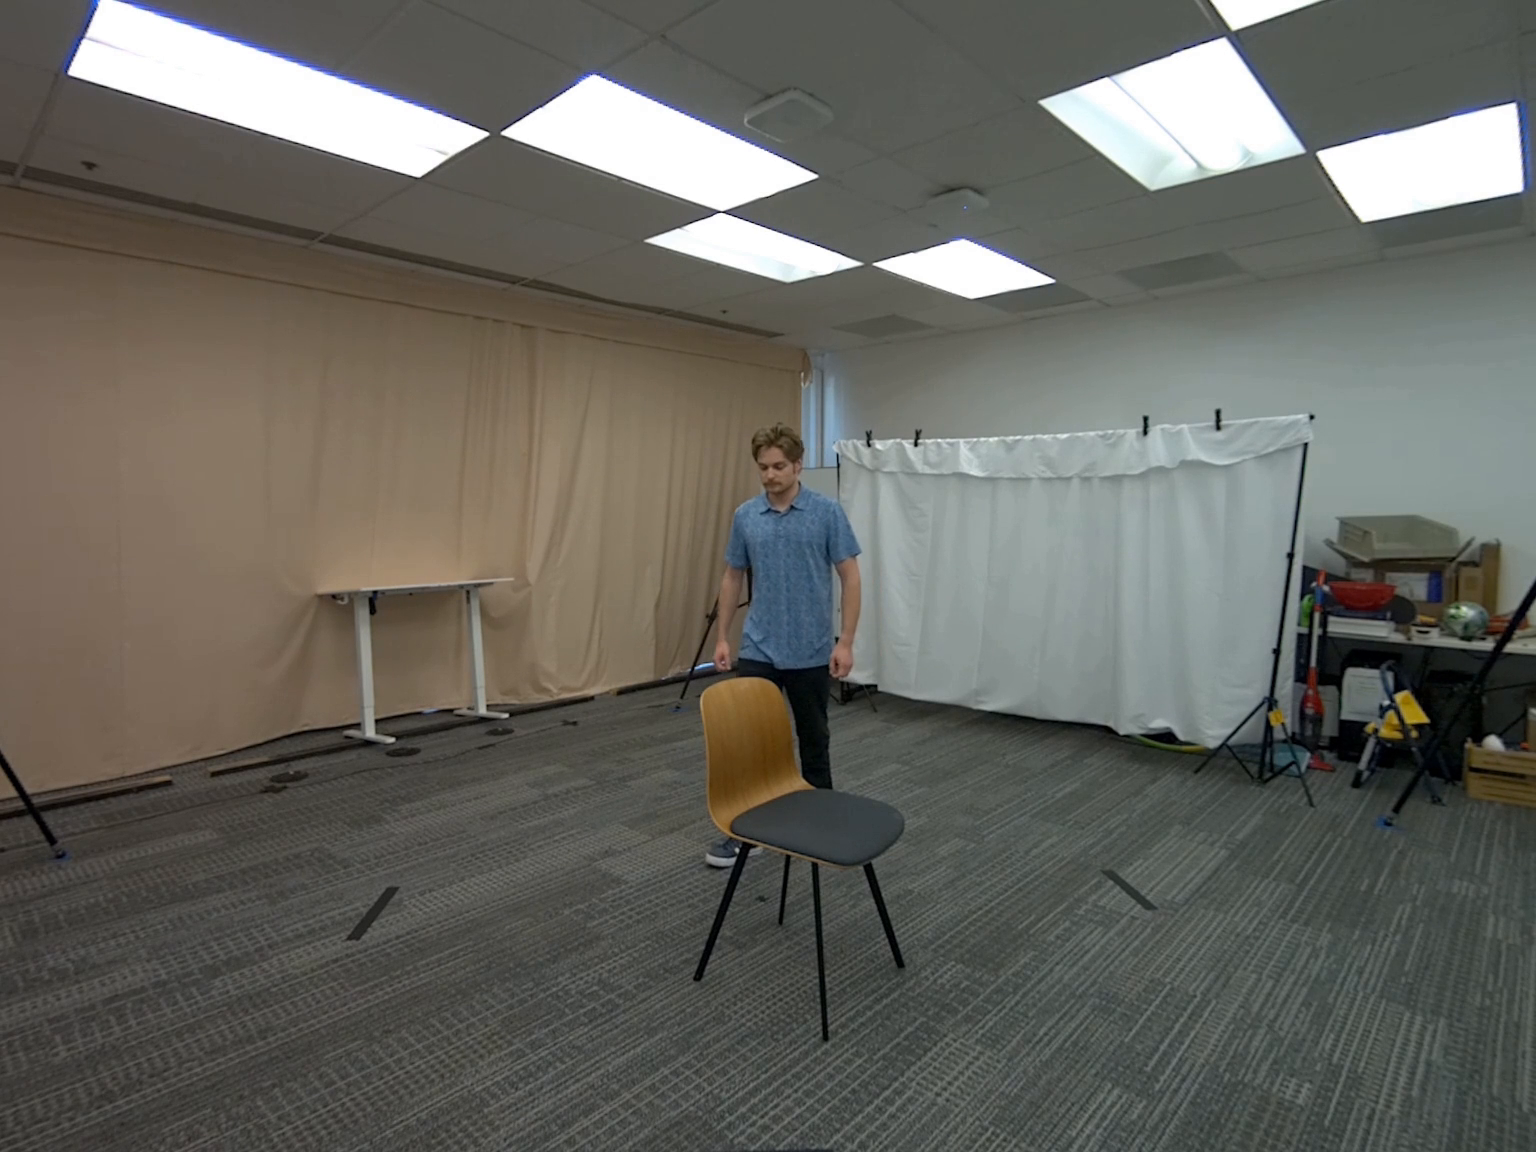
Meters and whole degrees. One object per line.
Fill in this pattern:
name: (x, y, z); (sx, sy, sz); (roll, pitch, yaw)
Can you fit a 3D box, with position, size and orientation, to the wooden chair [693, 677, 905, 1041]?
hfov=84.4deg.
wooden chair: (0.106, 0.756, 2.469); (0.539, 0.877, 0.464); (-3, 0, 37)
